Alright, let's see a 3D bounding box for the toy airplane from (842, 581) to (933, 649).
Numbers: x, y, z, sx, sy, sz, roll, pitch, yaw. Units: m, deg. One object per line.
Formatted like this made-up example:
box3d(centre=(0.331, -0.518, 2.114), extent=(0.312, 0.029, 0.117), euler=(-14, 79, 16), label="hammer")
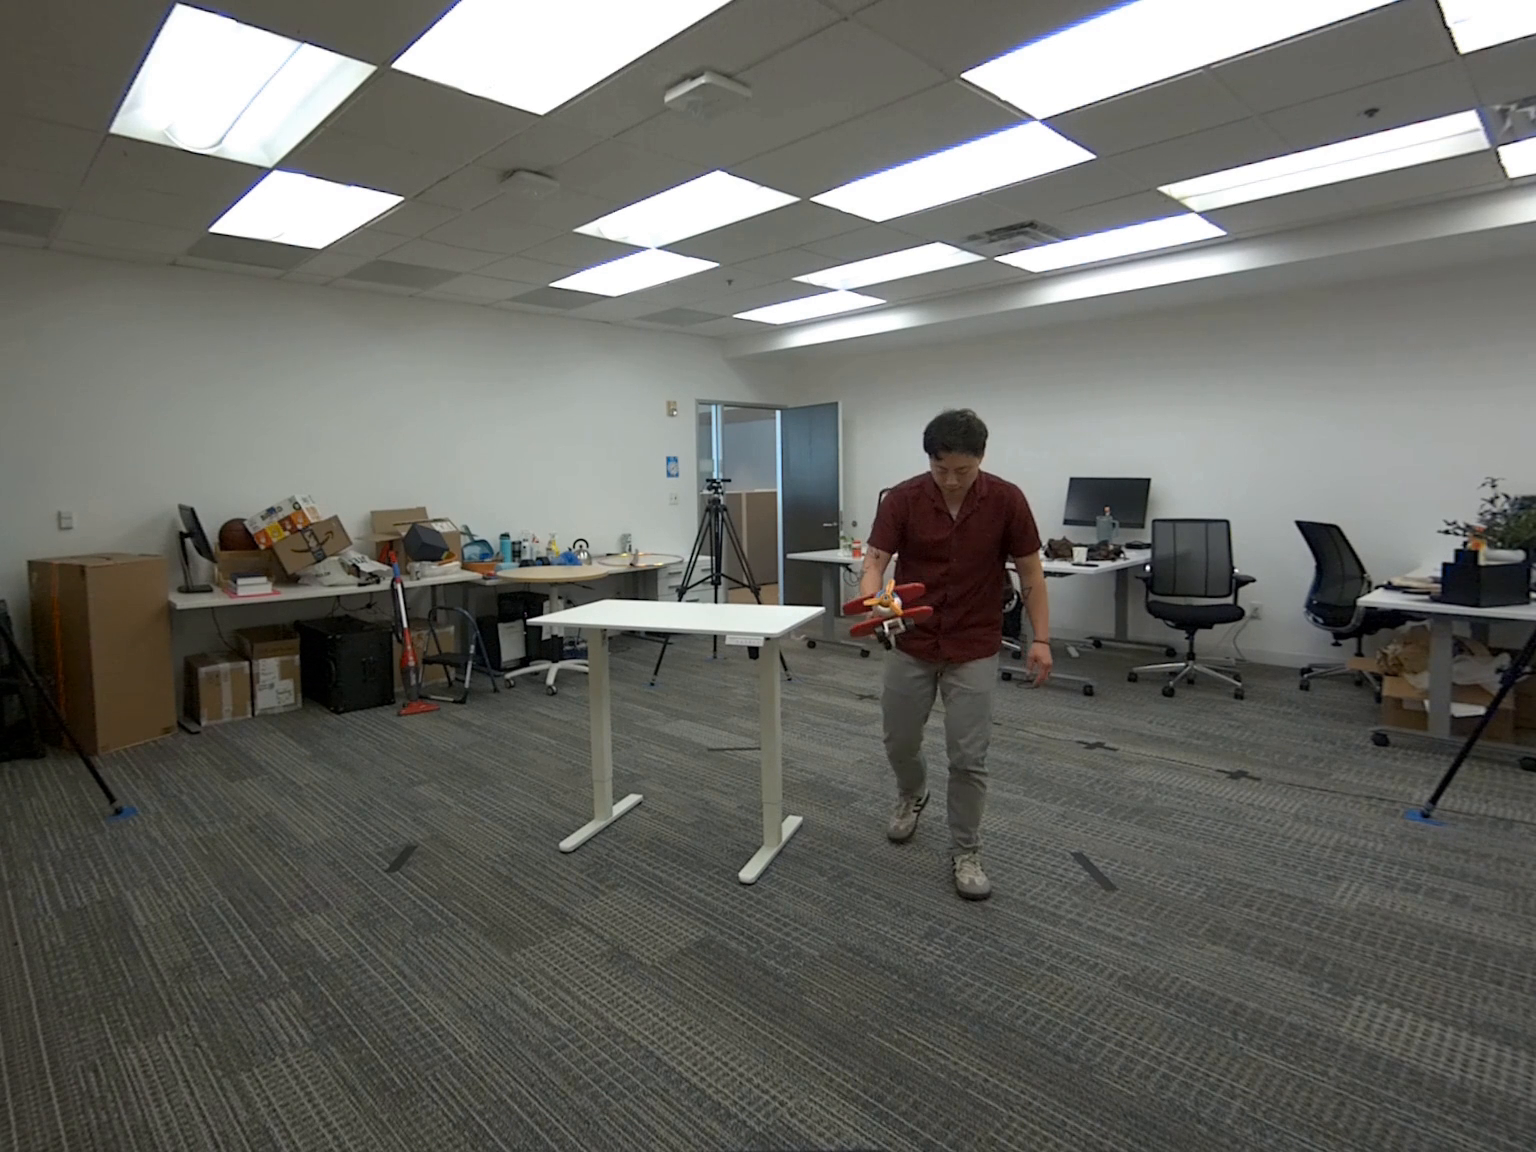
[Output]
box3d(centre=(0.346, 0.146, 2.599), extent=(0.247, 0.159, 0.259), euler=(-7, -17, -22), label="toy airplane")
